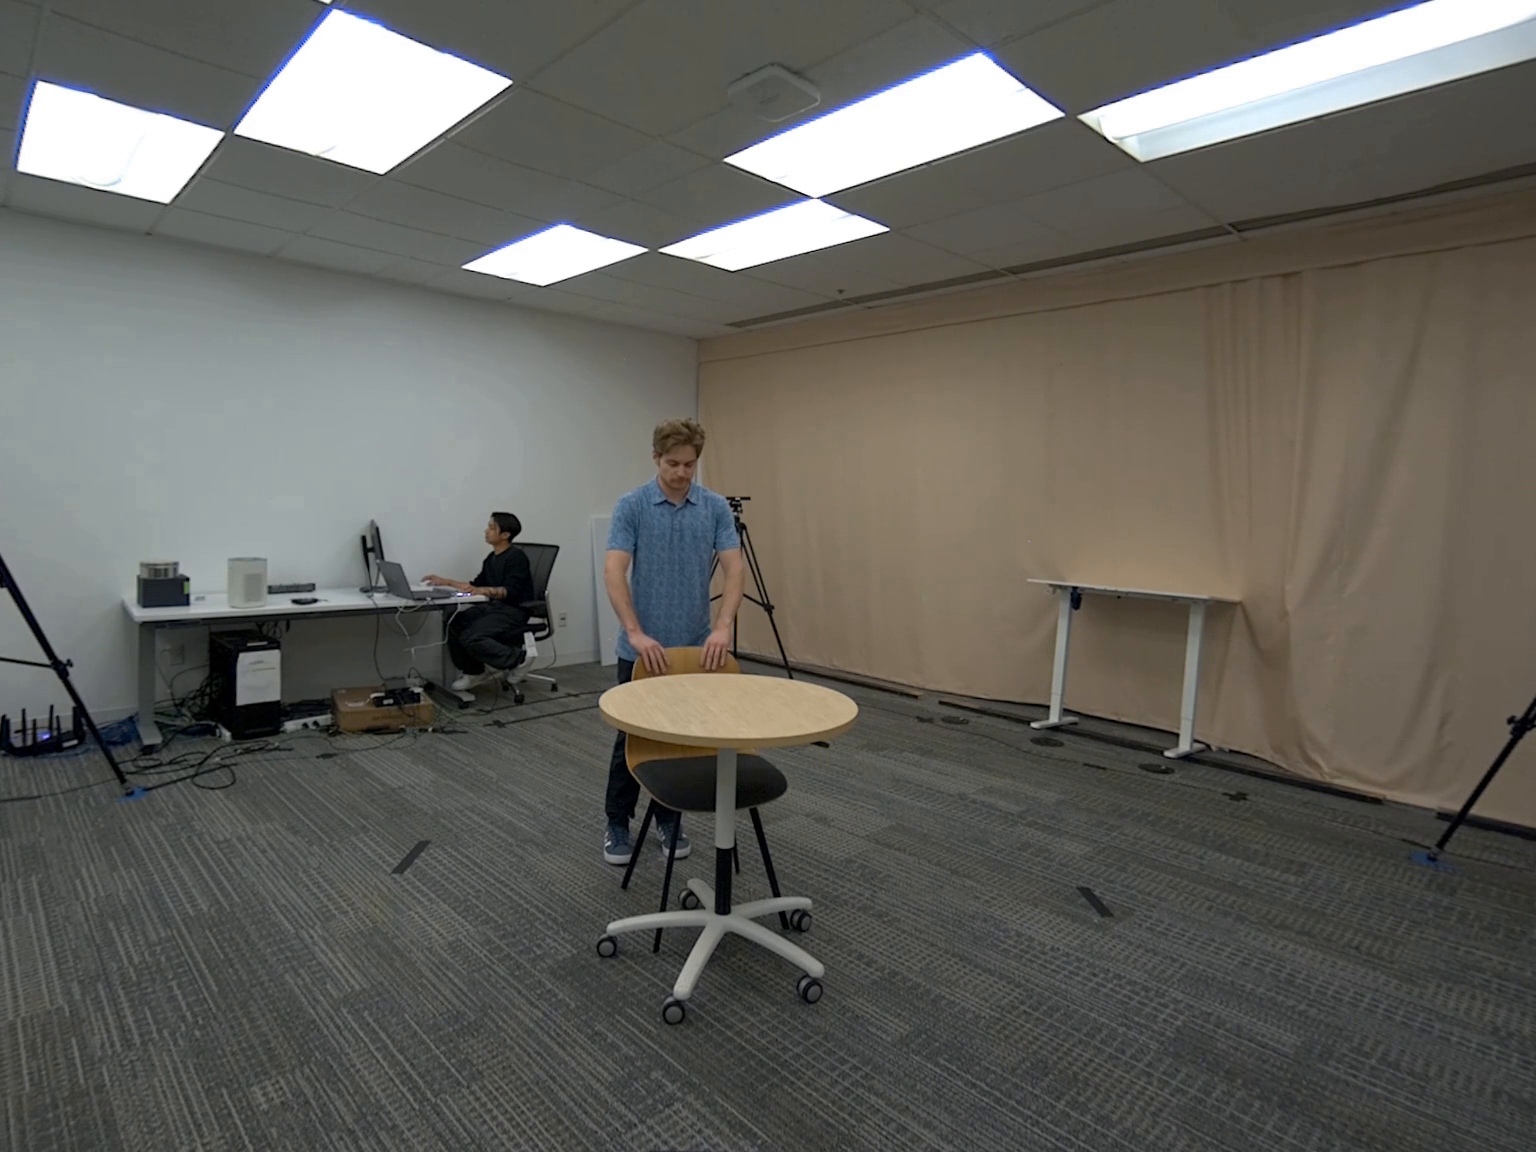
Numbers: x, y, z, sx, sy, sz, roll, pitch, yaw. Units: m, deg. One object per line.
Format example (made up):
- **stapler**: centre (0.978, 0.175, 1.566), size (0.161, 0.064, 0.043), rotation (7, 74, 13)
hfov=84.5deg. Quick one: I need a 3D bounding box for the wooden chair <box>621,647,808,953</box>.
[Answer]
- **wooden chair**: centre (-0.219, 0.704, 2.816), size (0.470, 0.877, 0.531), rotation (0, 0, -22)
